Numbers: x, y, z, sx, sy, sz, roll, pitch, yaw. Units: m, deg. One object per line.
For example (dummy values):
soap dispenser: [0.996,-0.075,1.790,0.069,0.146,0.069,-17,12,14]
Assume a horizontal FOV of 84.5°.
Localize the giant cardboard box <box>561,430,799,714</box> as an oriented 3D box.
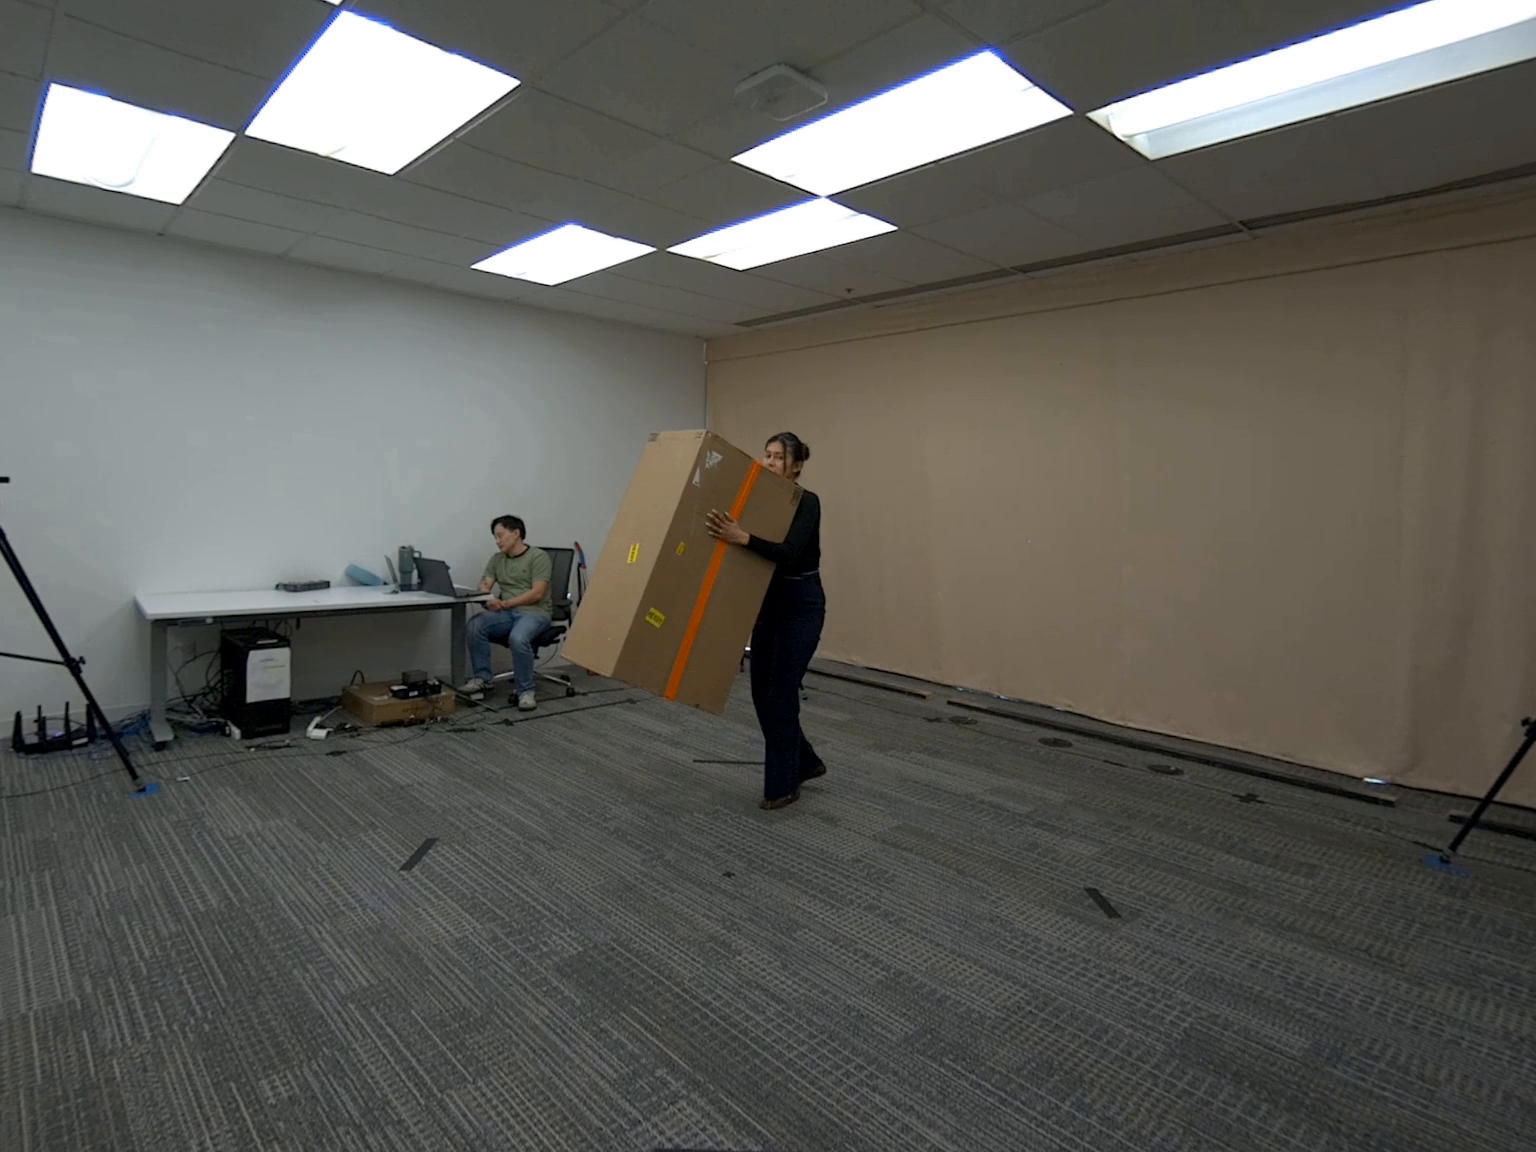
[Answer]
giant cardboard box: [-0.353,-0.017,3.519,0.560,1.030,0.437,28,-13,-38]
